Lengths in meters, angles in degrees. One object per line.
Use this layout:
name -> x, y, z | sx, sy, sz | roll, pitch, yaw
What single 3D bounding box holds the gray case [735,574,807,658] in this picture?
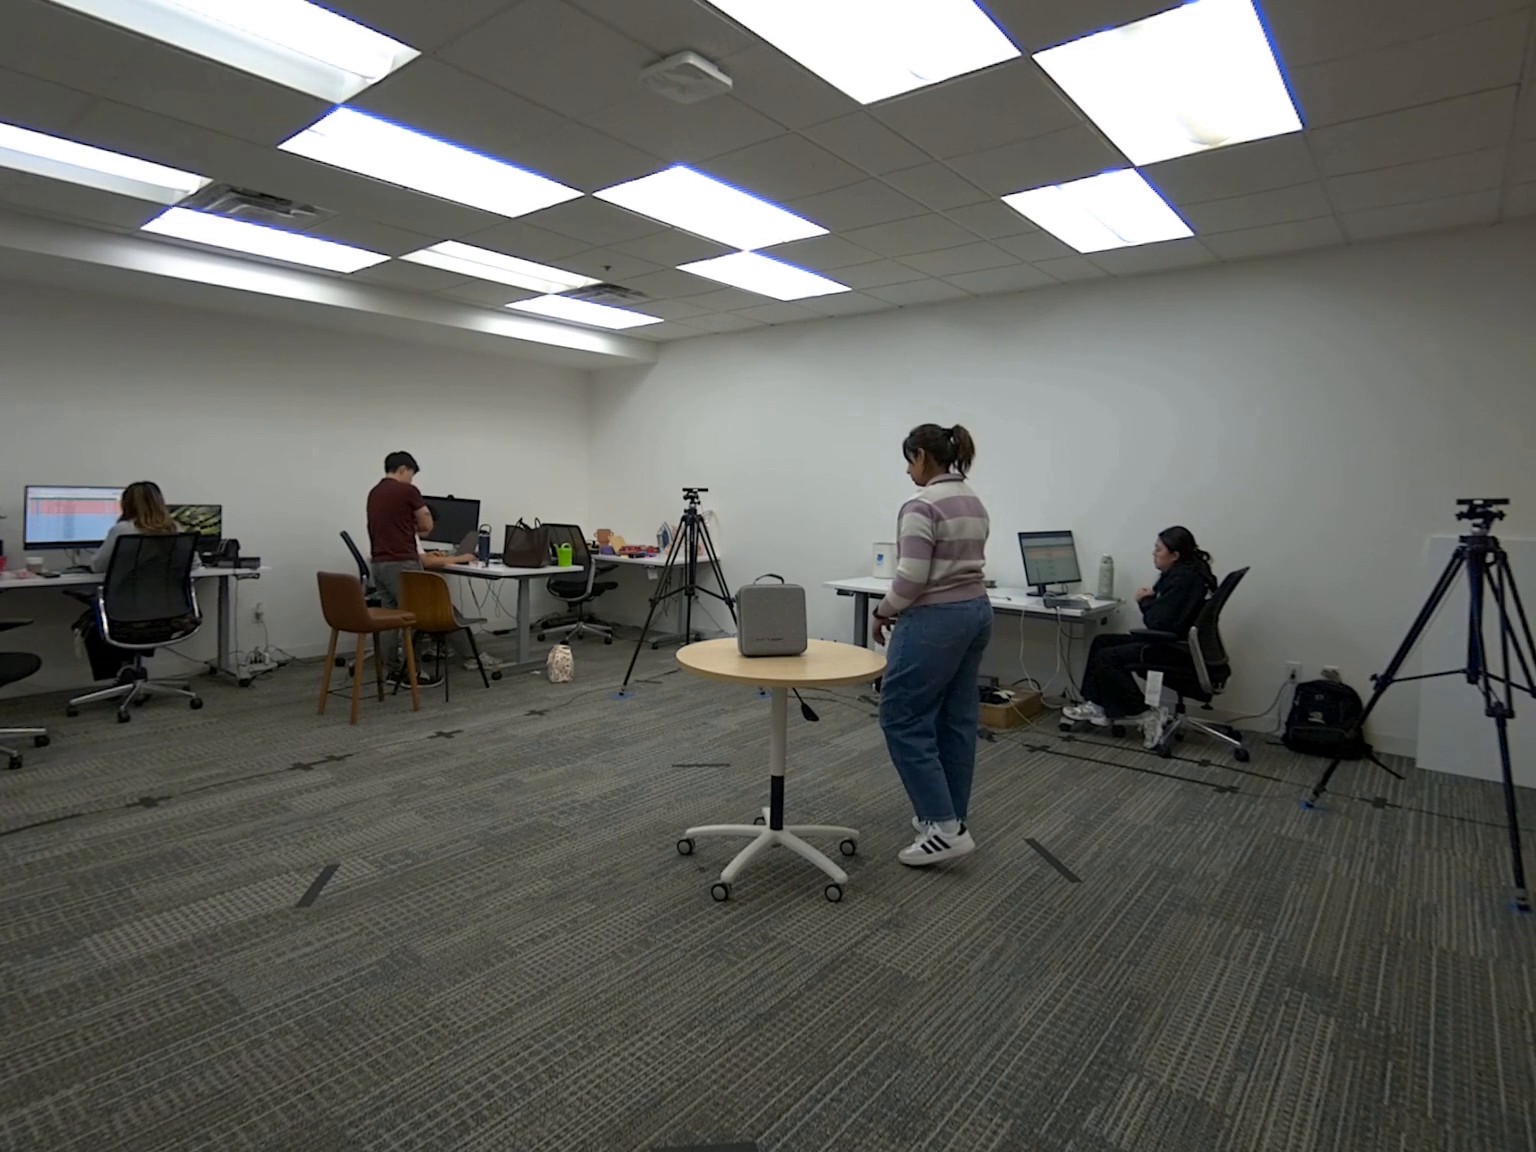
gray case -> 0.006, 0.158, 3.136 | 0.254, 0.262, 0.105 | 0, -6, -12
